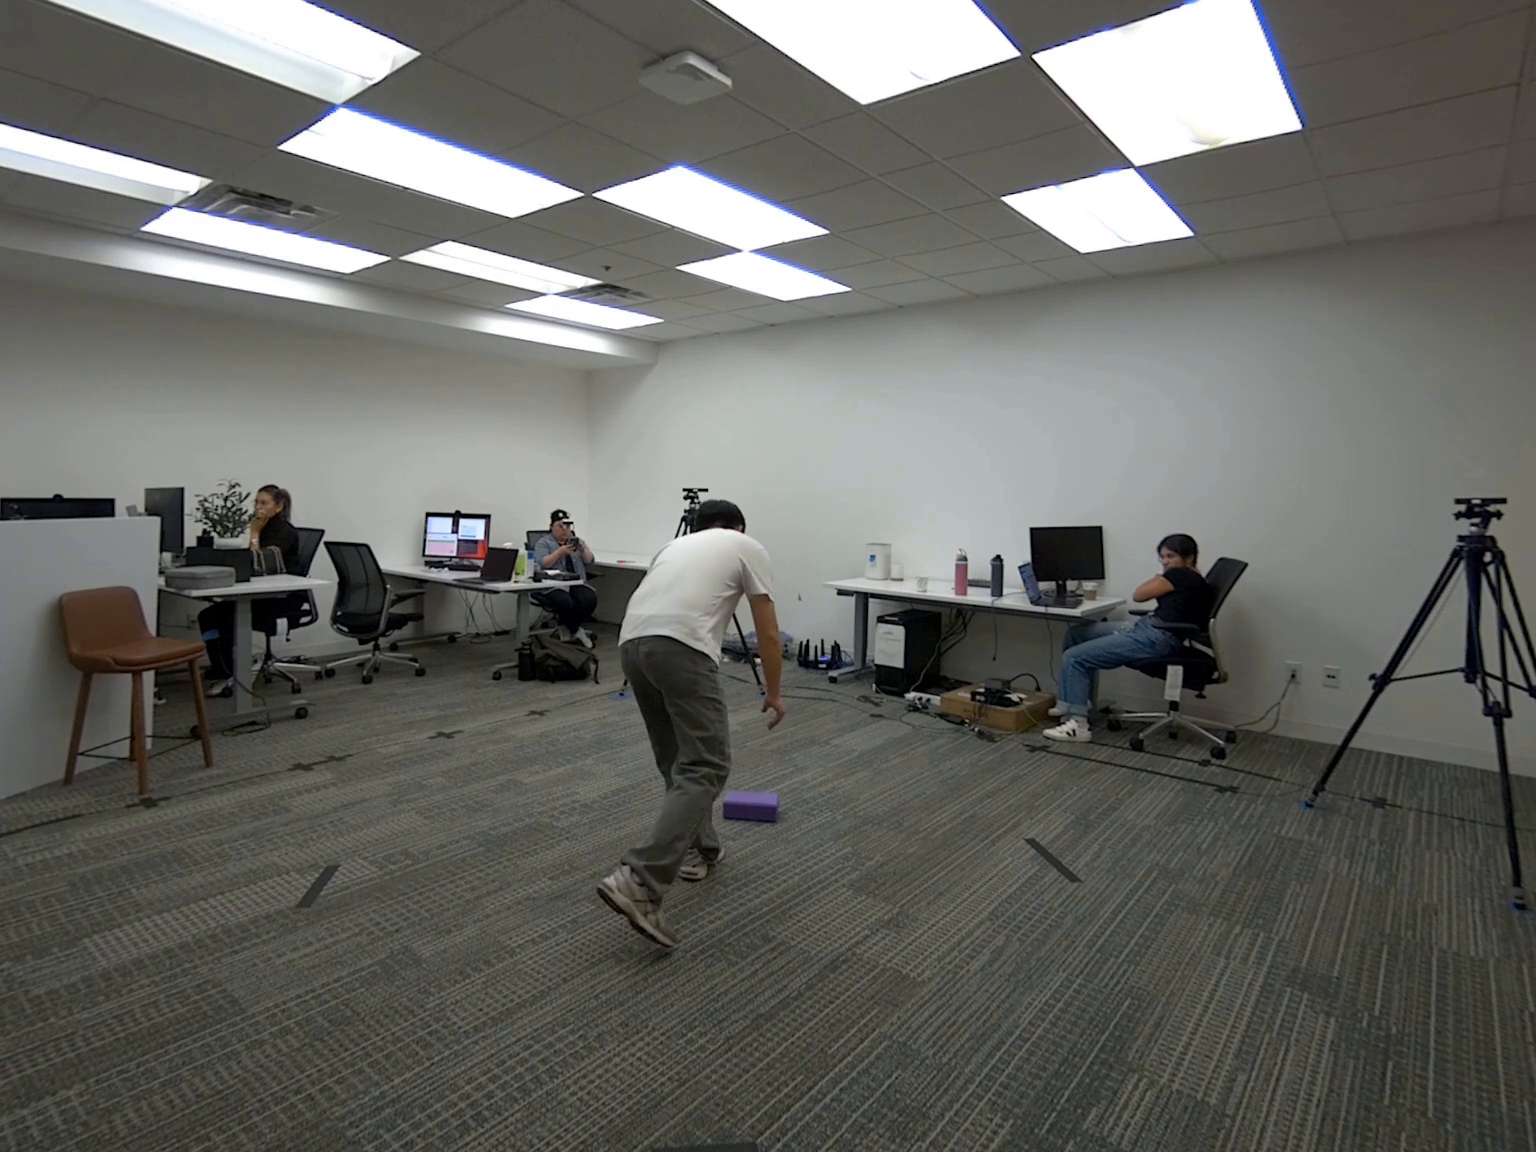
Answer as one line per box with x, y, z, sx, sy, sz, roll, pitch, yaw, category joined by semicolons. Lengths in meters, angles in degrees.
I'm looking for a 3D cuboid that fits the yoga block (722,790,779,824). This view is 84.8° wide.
-0.070;0.974;3.647;0.232;0.076;0.148;1;6;9;yoga block
